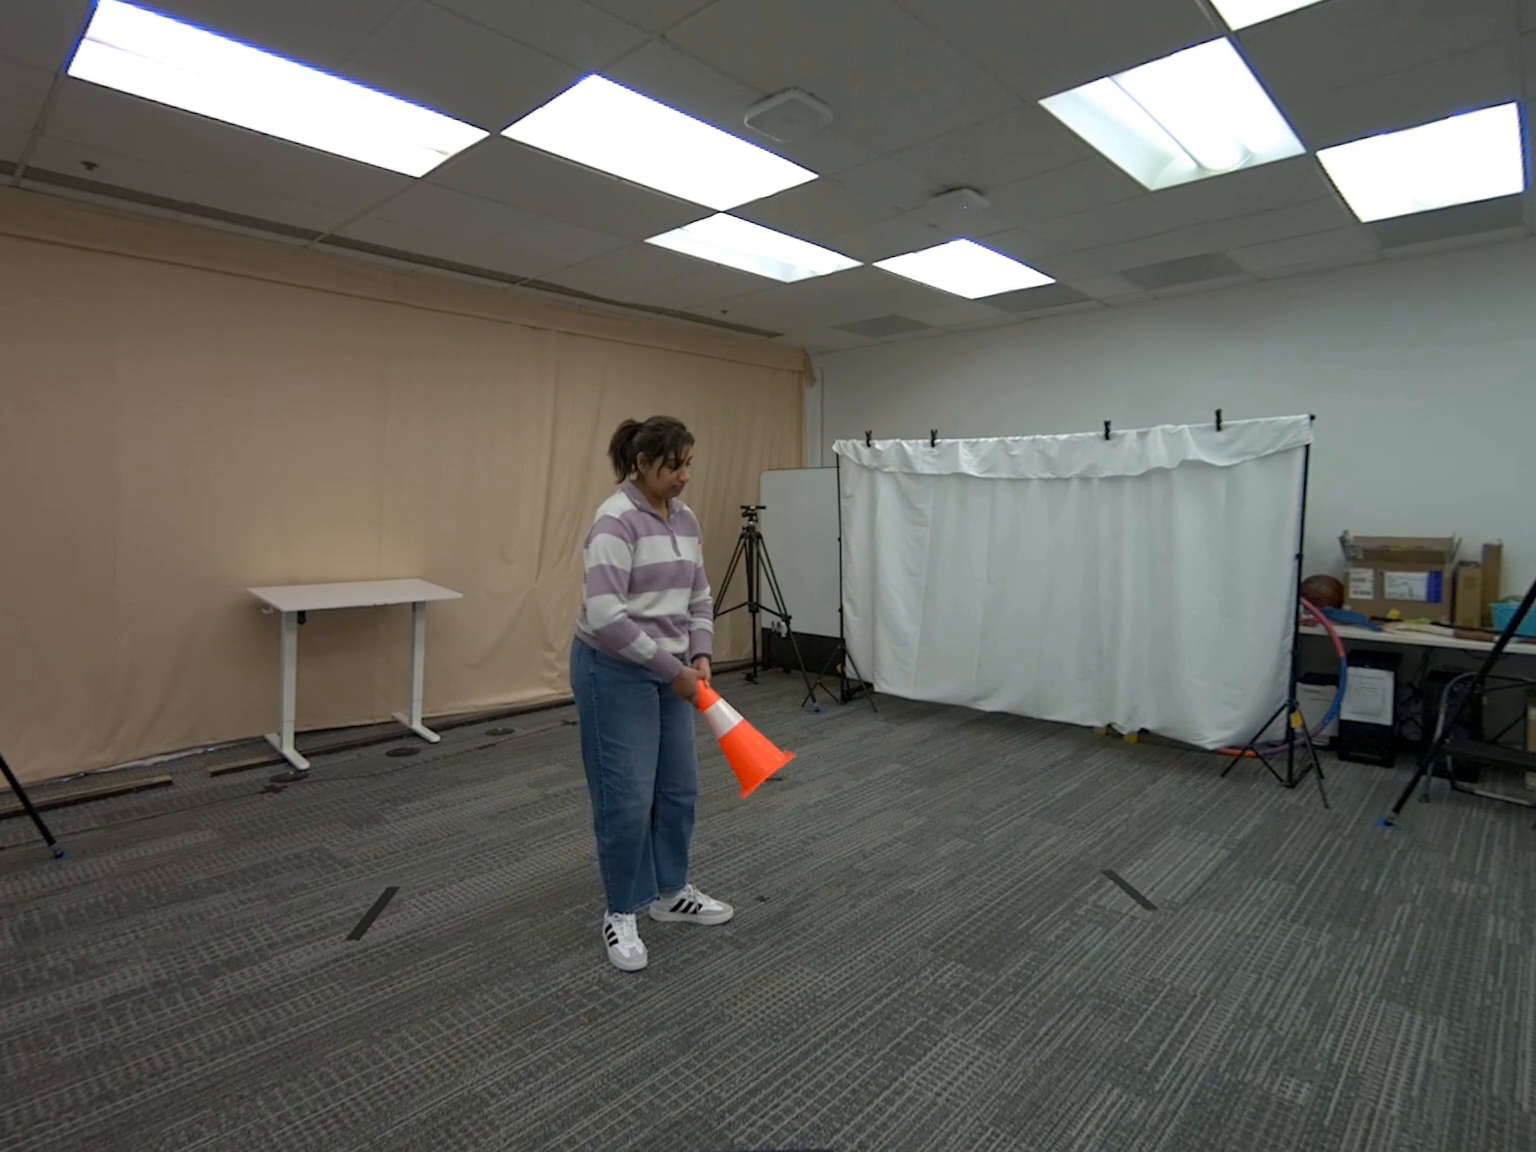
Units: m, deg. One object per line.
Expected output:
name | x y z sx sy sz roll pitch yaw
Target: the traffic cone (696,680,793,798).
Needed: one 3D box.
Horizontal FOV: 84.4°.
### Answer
traffic cone | -0.131 0.442 2.524 0.202 0.387 0.204 -38 -6 -12
